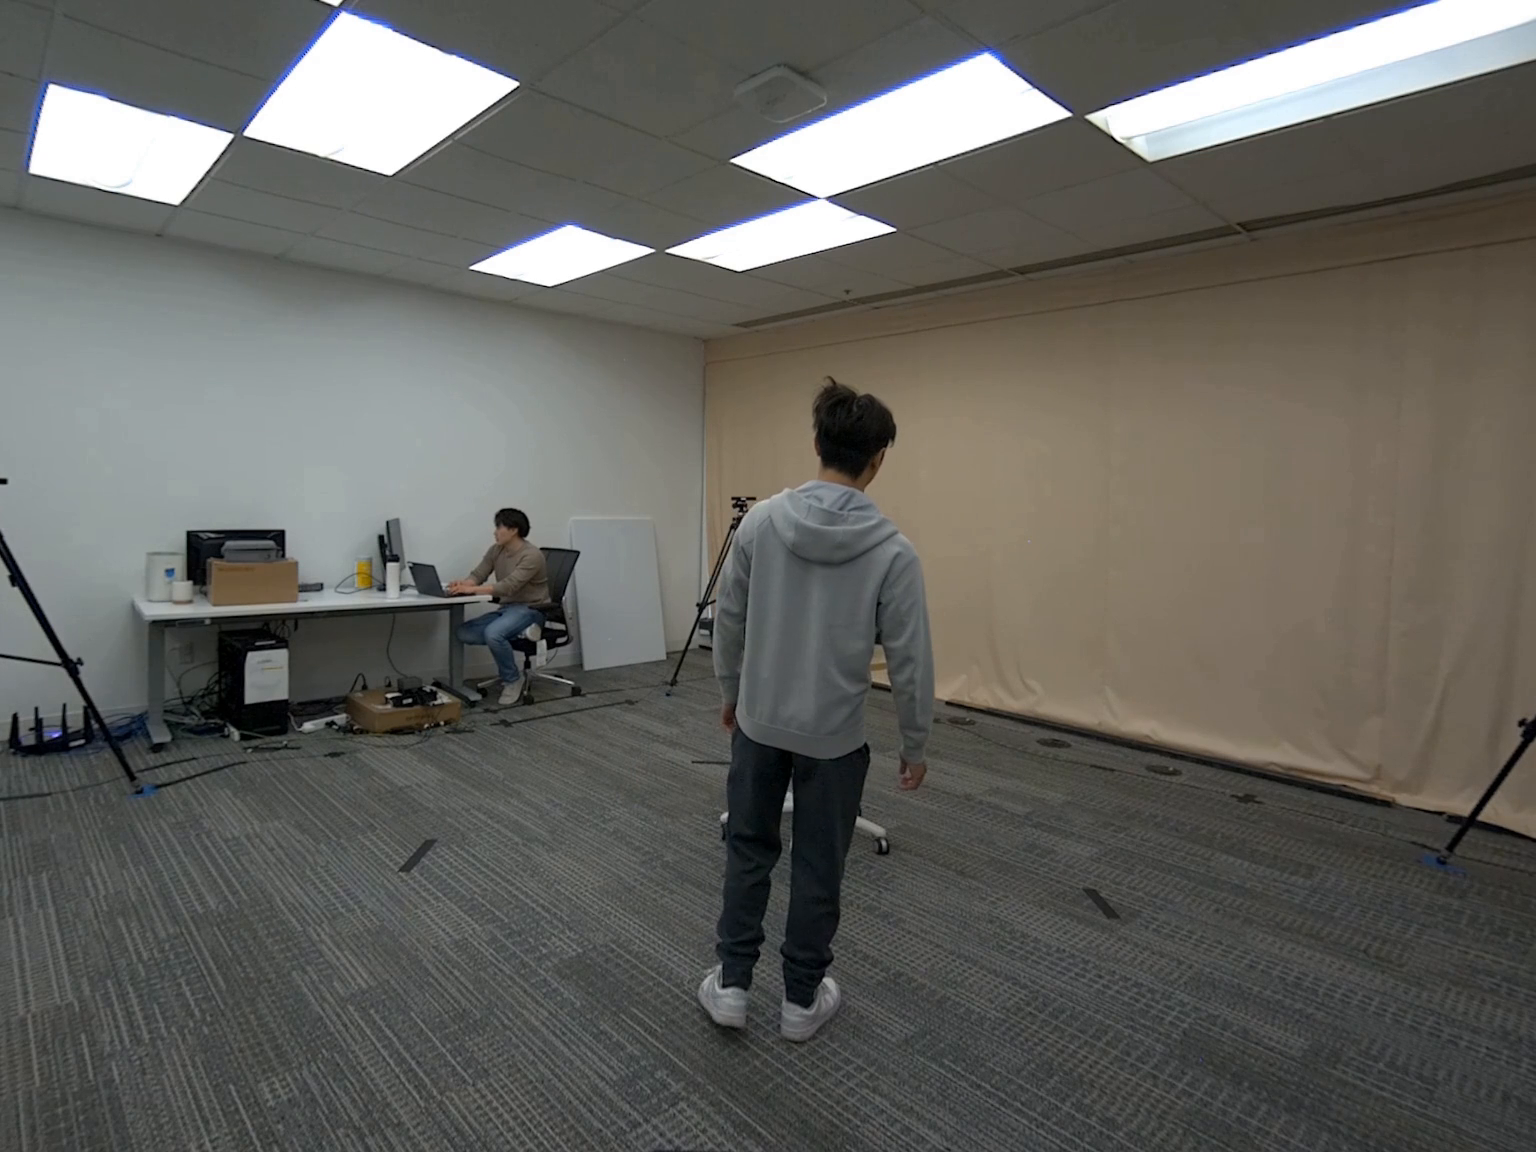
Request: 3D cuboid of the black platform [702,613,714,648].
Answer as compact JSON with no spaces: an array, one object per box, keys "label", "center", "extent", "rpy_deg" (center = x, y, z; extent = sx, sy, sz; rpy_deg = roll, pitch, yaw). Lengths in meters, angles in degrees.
[{"label":"black platform","center":[0.175,0.236,3.467],"extent":[0.618,0.143,0.791],"rpy_deg":[5,6,27]}]
